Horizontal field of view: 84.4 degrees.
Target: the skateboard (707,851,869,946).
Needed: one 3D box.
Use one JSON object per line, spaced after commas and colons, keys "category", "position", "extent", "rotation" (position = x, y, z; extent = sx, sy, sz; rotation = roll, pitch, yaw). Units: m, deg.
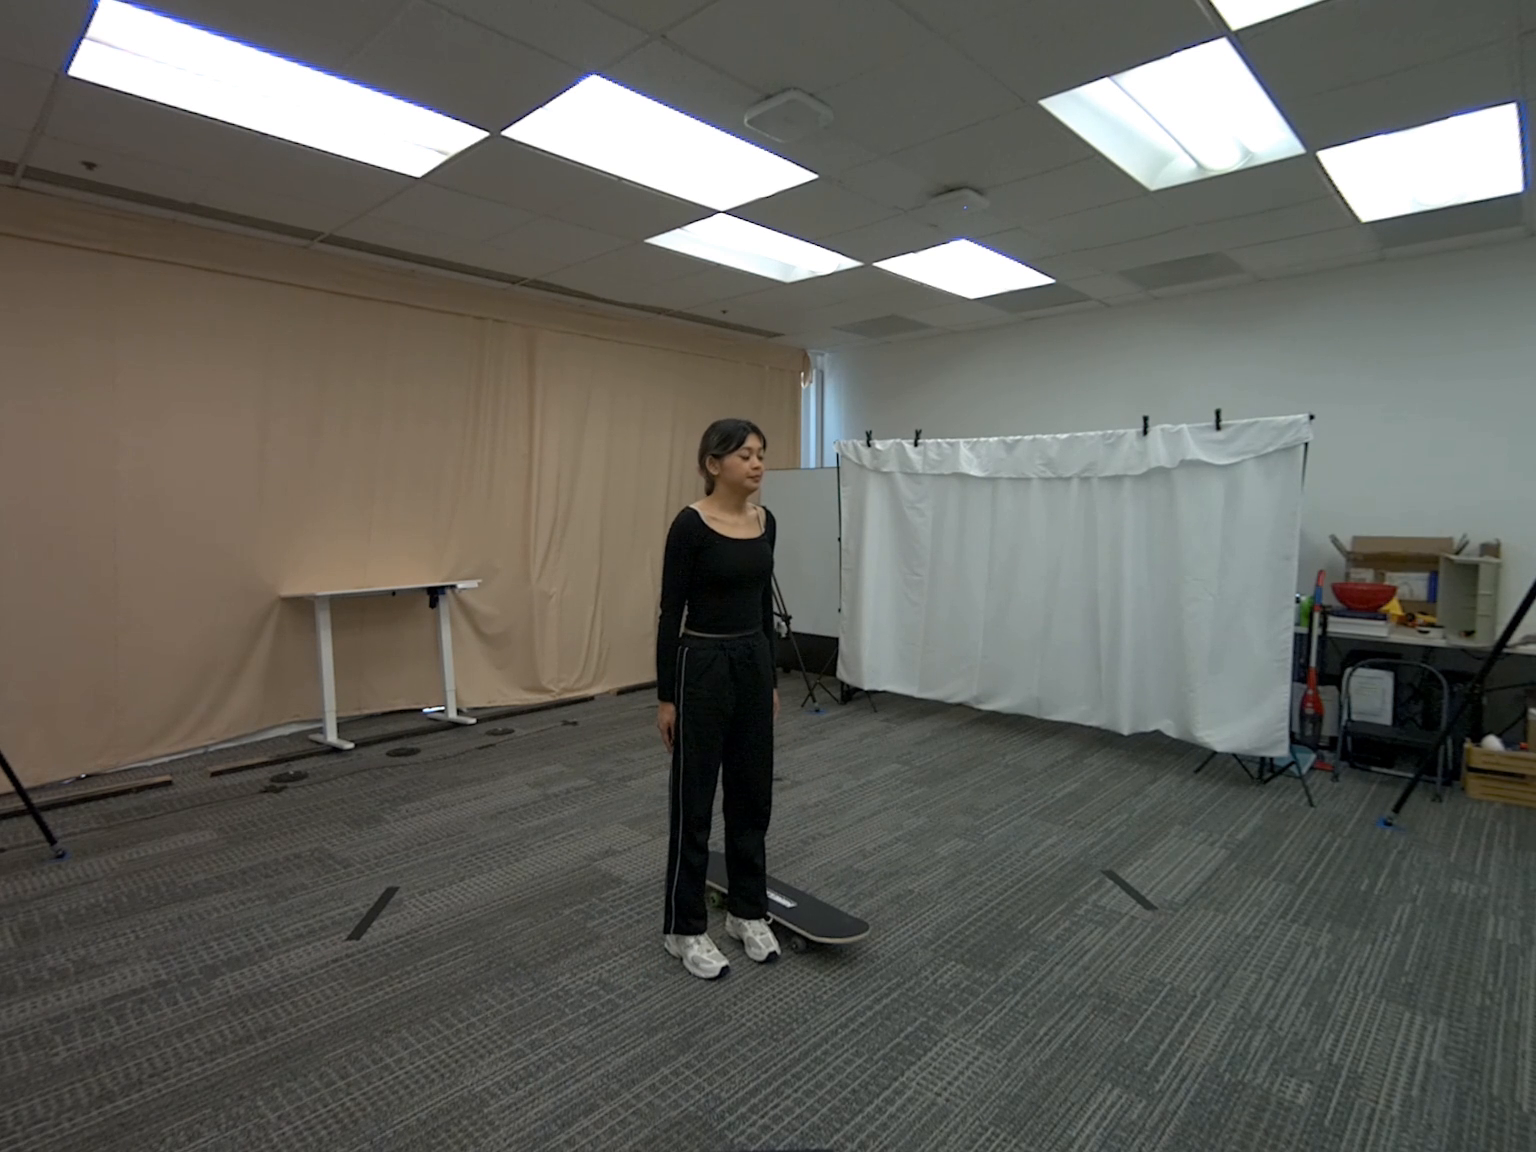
{"category": "skateboard", "position": [0.023, 1.099, 2.826], "extent": [0.187, 0.110, 0.812], "rotation": [-3, 5, -42]}
